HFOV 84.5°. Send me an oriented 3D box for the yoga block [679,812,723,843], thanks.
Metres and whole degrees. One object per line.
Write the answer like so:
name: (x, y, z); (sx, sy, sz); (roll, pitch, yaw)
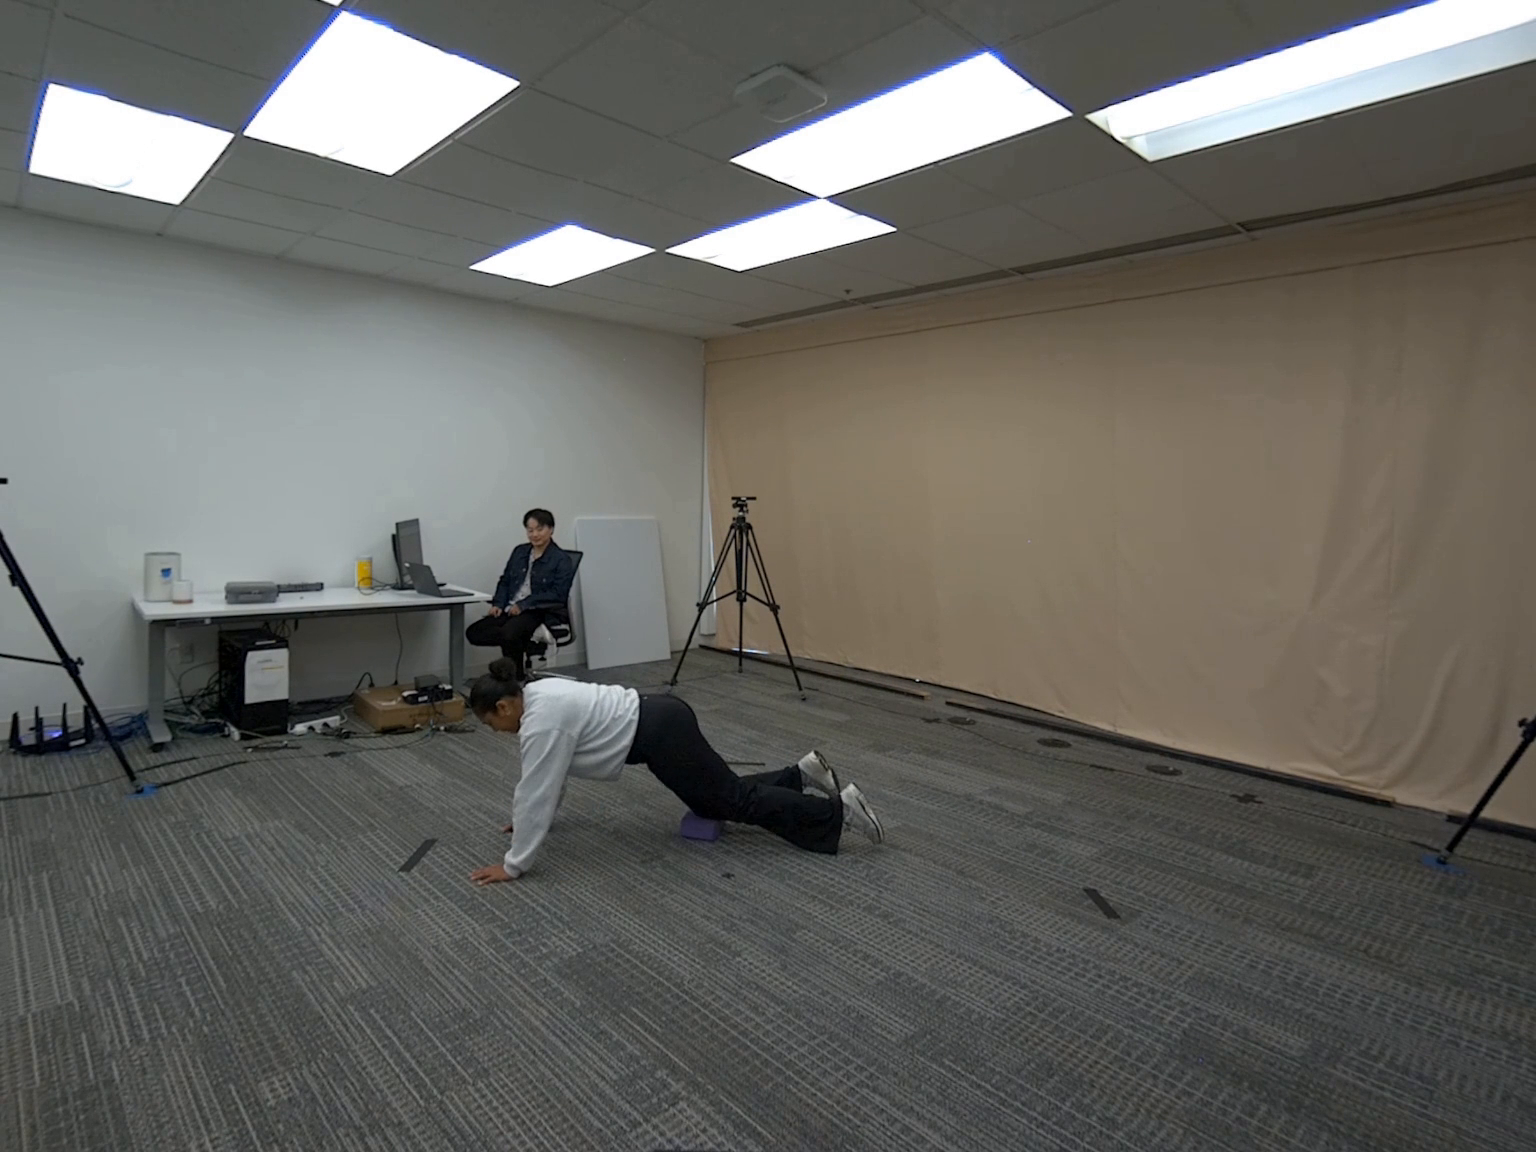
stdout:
yoga block: (-0.270, 1.012, 3.526); (0.150, 0.076, 0.228); (5, 6, 11)
